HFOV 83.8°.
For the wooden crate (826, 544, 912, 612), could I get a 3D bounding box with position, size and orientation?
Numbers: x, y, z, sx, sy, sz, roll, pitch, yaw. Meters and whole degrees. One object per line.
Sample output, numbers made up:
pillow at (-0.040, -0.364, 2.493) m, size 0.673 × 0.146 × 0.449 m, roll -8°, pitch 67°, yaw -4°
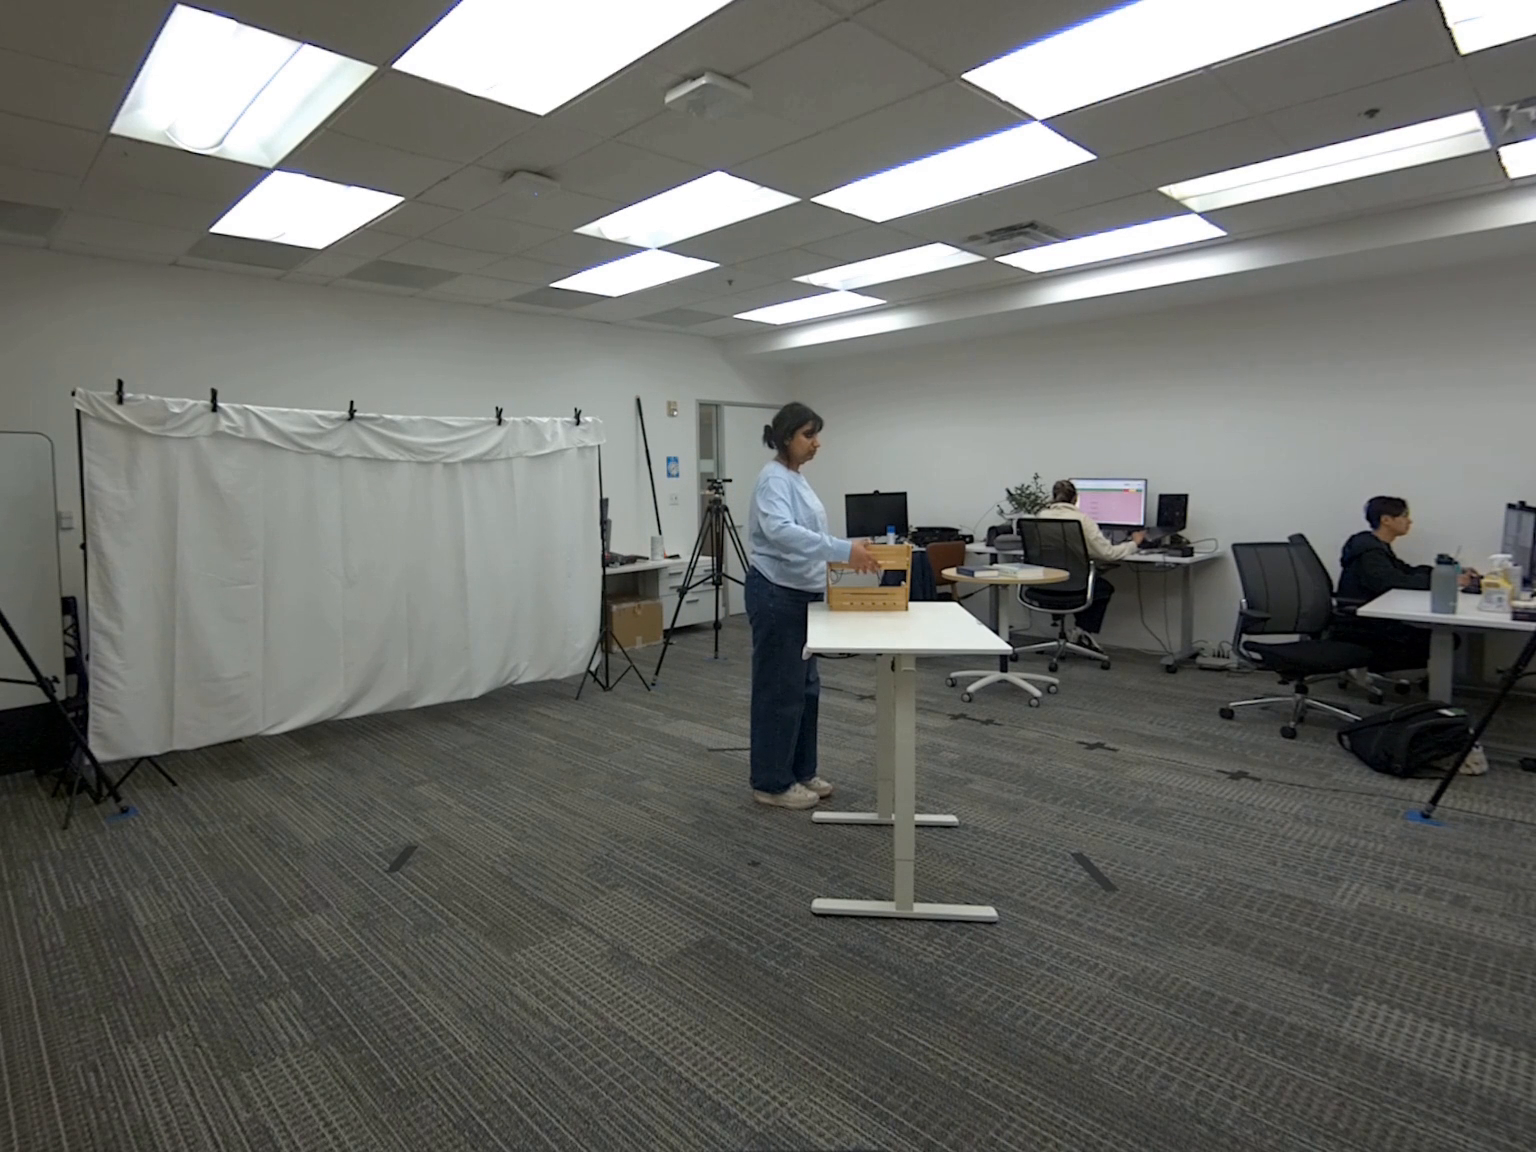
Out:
wooden crate at (0.404, -0.006, 3.394) m, size 0.327 × 0.272 × 0.301 m, roll -1°, pitch 6°, yaw 6°
